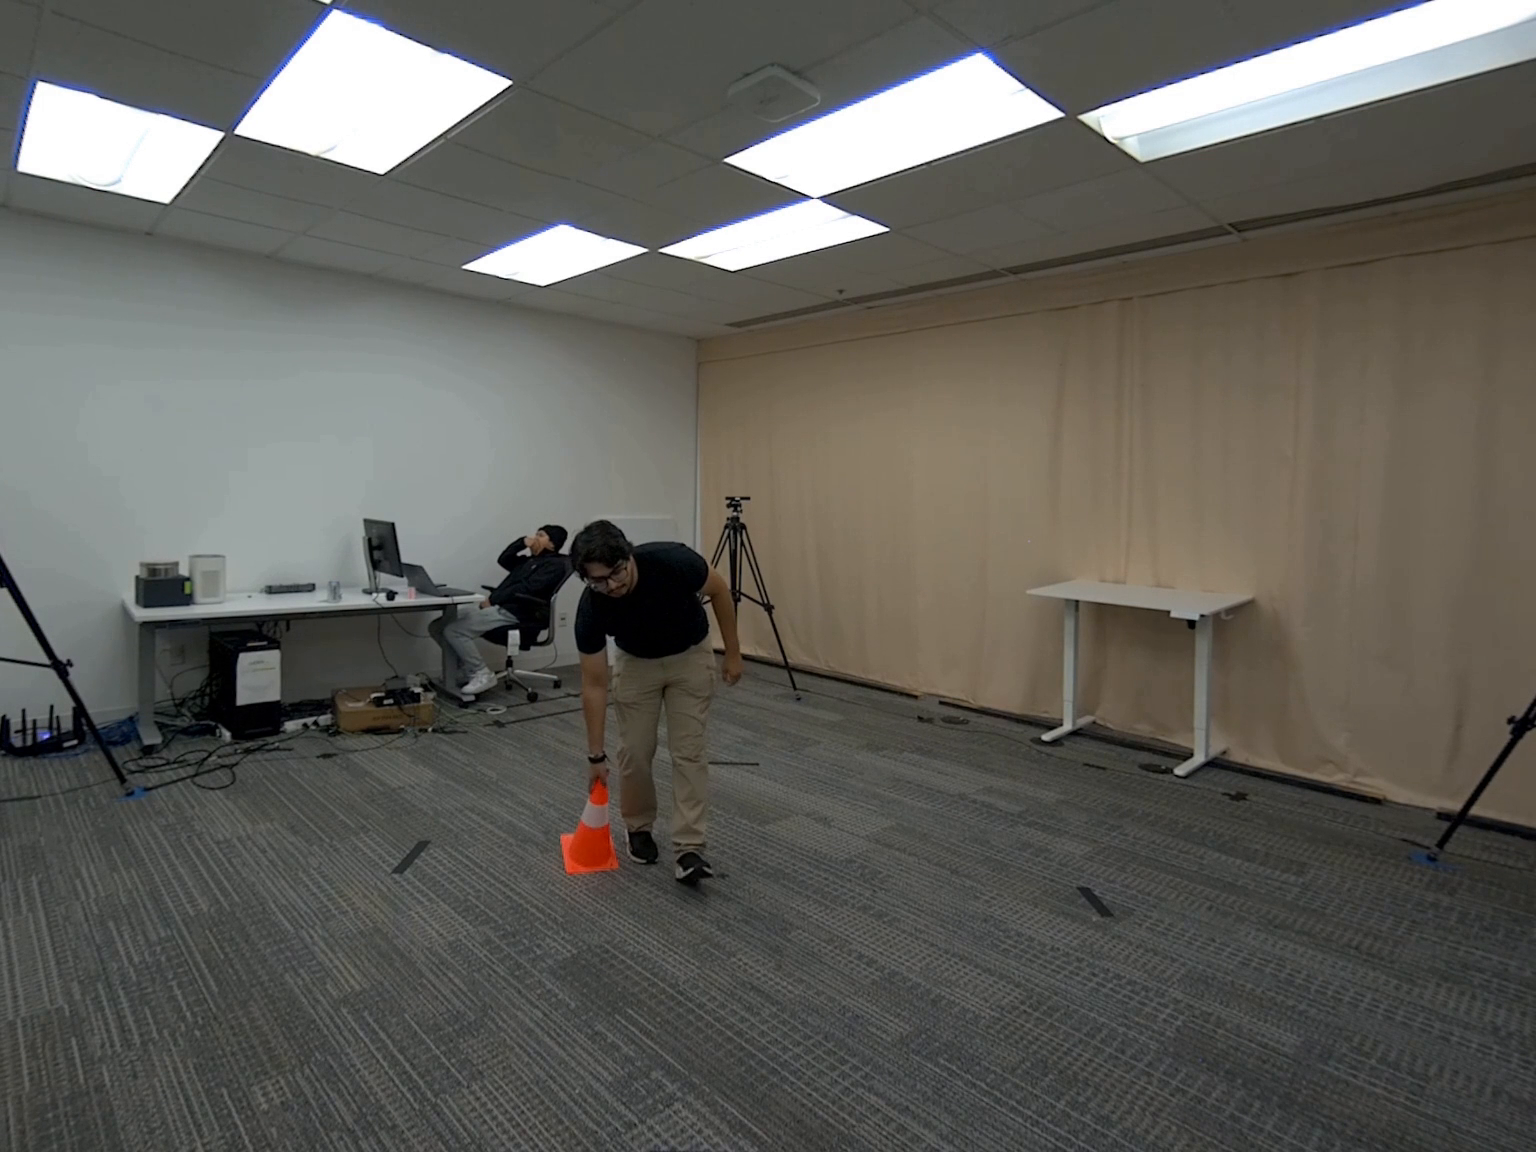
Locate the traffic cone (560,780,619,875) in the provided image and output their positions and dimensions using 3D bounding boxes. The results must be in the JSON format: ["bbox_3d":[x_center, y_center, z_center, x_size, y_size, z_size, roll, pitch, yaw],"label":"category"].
[{"bbox_3d":[-0.643,0.887,3.132,0.201,0.380,0.209,8,19,-14],"label":"traffic cone"}]
